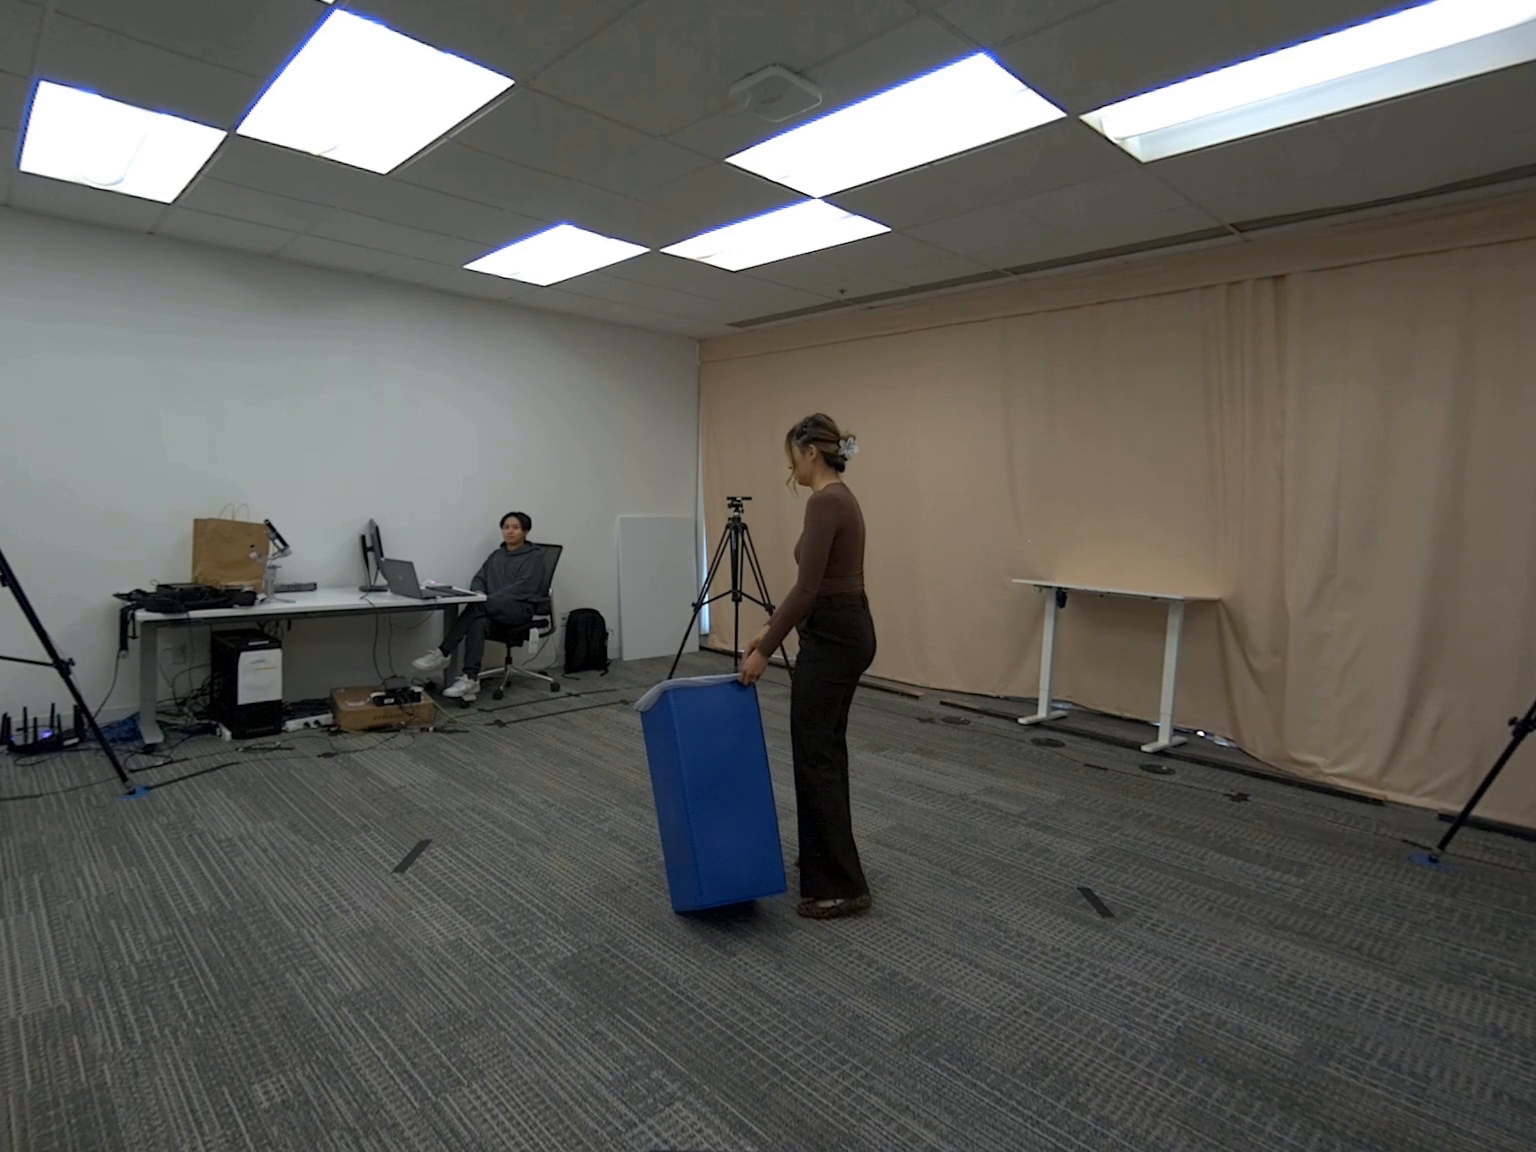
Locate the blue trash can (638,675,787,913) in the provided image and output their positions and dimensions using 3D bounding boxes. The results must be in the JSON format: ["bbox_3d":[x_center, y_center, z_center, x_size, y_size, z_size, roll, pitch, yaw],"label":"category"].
[{"bbox_3d":[-0.202,0.737,2.882,0.367,0.726,0.378,0,-23,-26],"label":"blue trash can"}]
